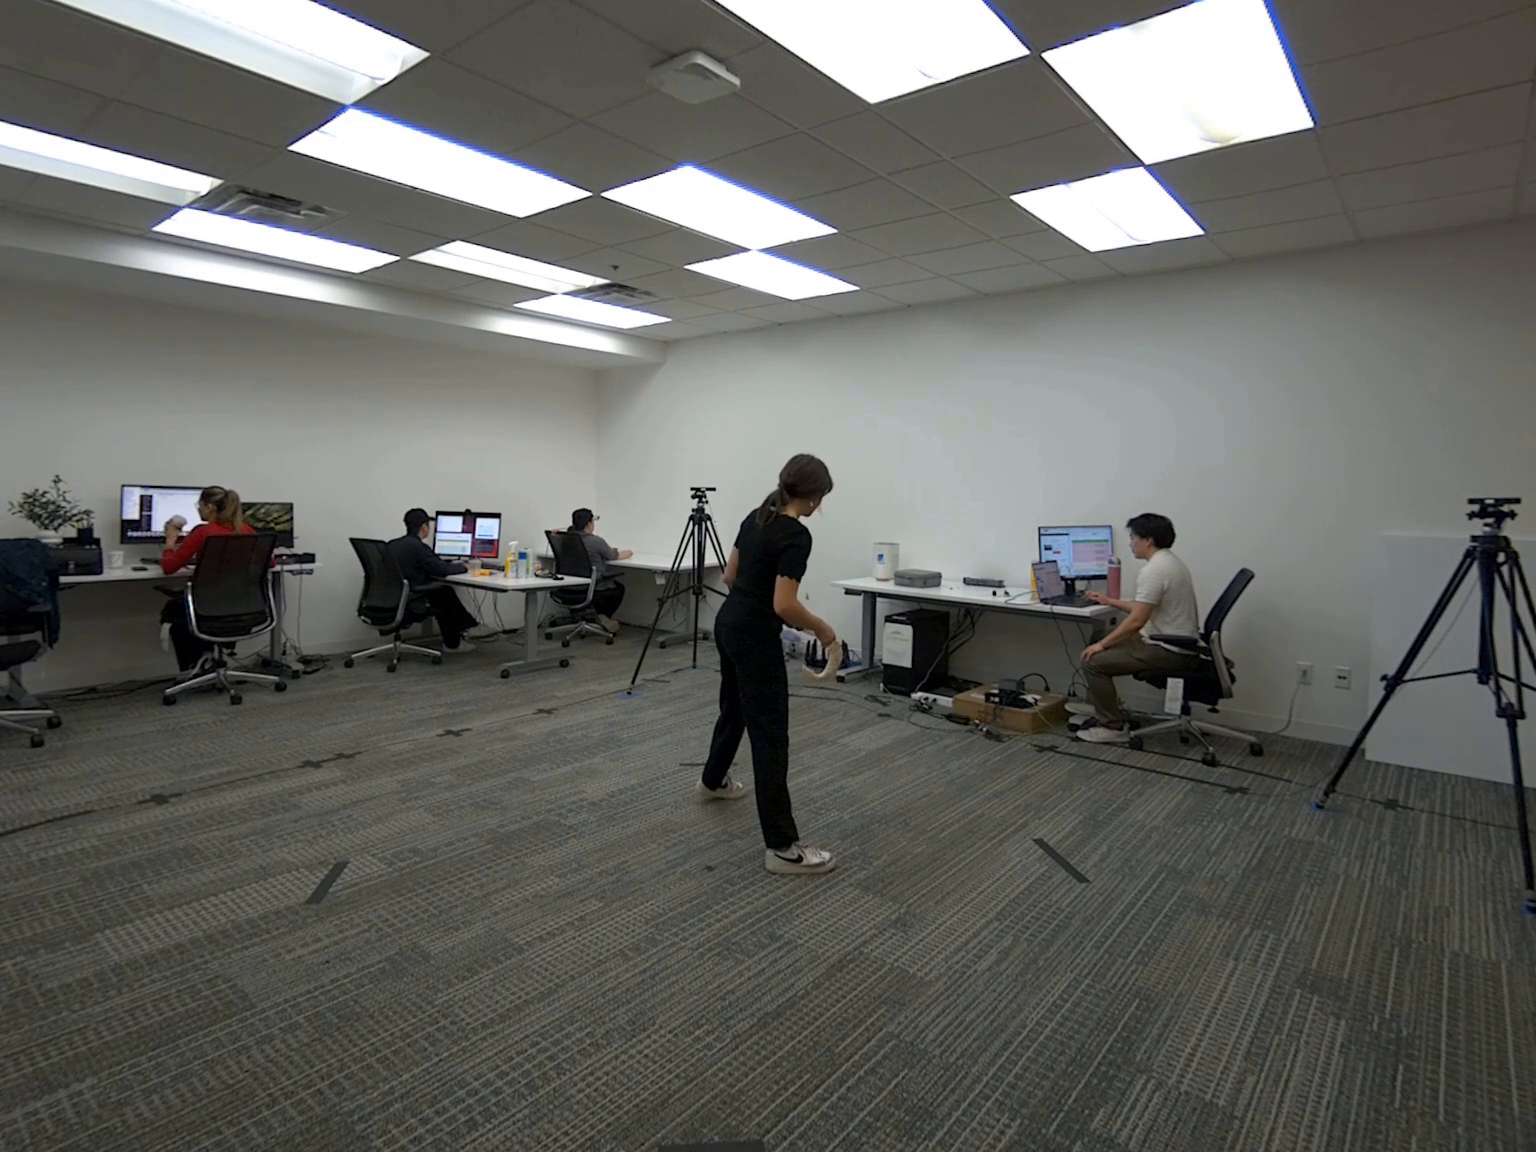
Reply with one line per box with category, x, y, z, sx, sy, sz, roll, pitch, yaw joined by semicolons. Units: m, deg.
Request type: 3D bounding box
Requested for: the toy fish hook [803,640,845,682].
toy fish hook;0.147;0.290;3.653;0.487;0.226;0.050;39;-24;-32
